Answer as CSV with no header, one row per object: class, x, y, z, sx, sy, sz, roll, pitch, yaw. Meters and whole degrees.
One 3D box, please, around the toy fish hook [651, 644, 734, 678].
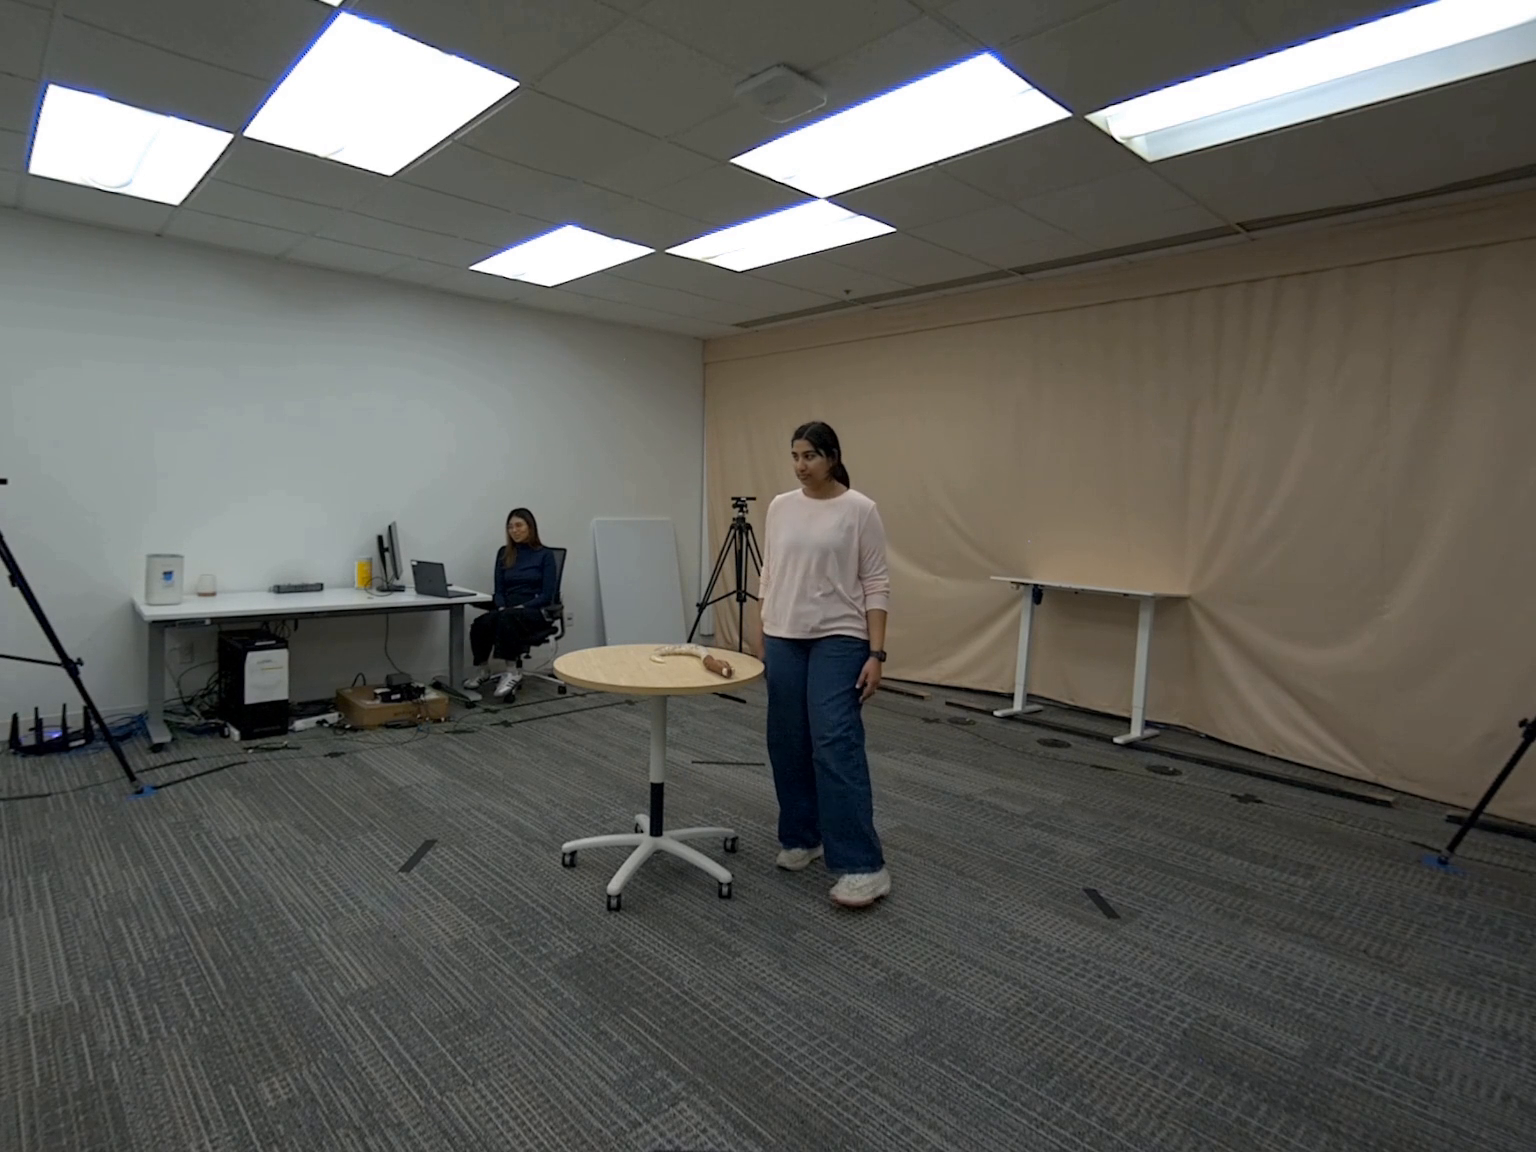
toy fish hook,-0.281,0.310,3.048,0.221,0.048,0.516,-4,7,-22
